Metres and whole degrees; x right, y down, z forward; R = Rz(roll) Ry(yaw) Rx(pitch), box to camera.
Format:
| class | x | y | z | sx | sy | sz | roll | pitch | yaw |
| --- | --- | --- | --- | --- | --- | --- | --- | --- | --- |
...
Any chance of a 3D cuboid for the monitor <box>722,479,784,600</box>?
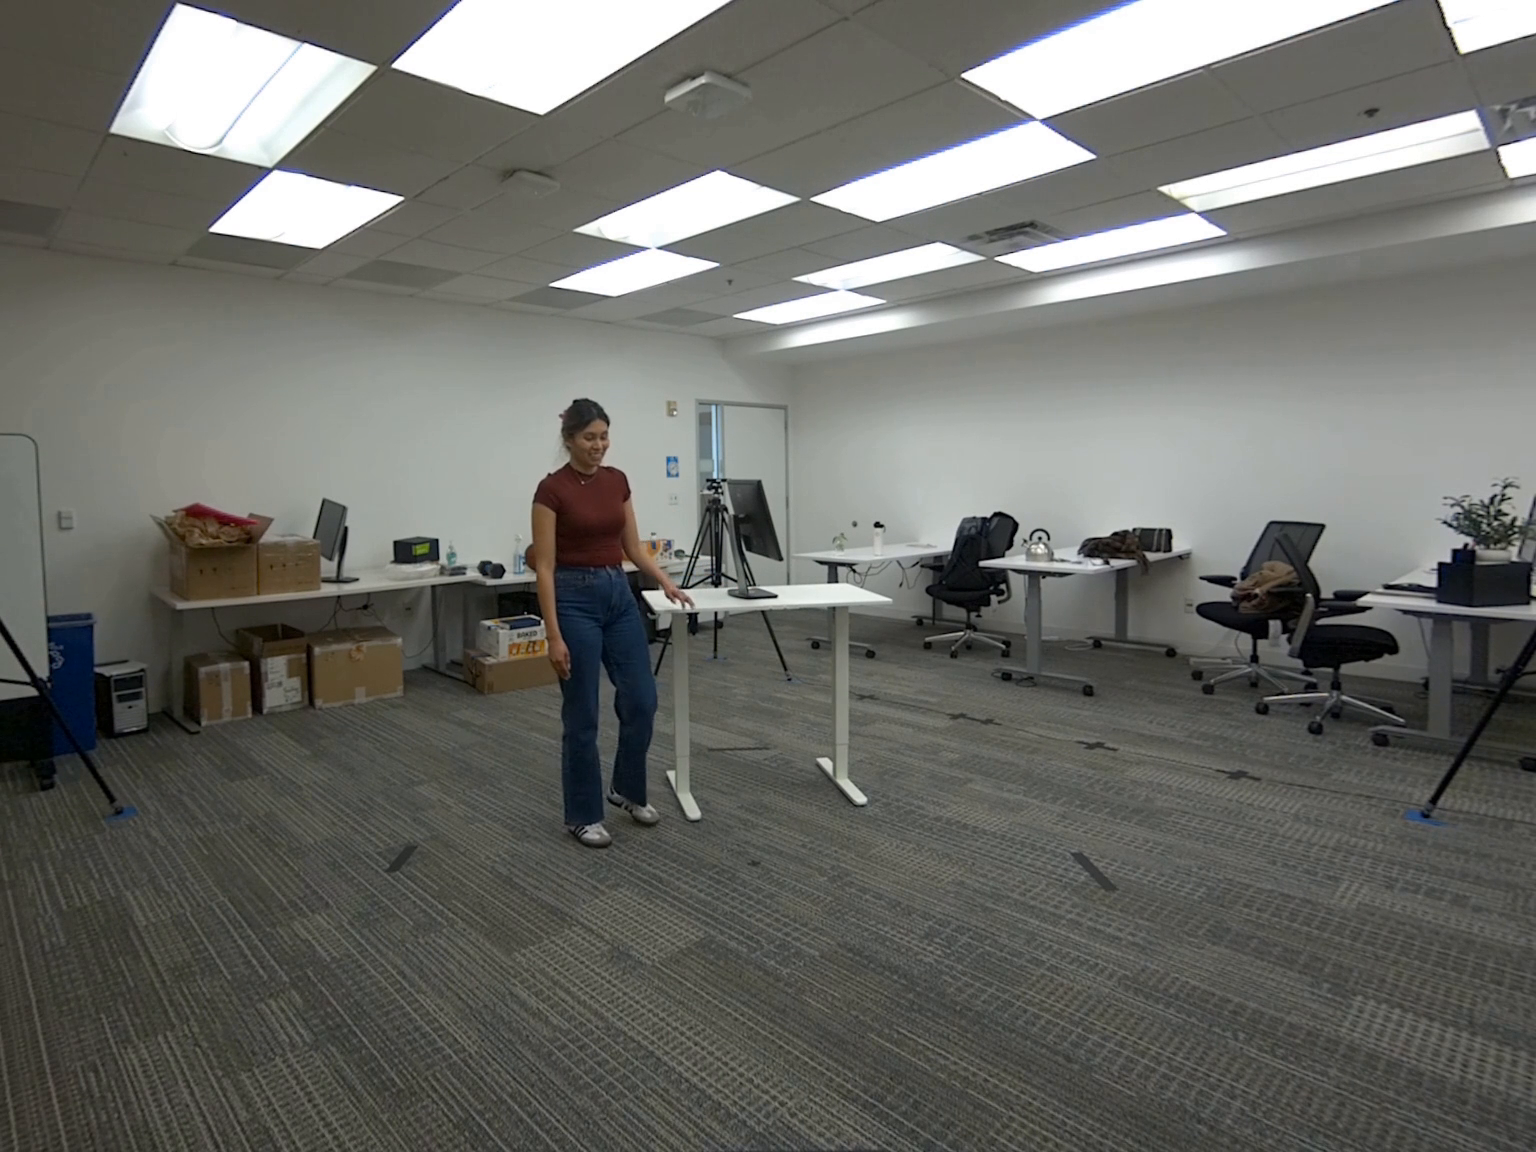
| class | x | y | z | sx | sy | sz | roll | pitch | yaw |
| --- | --- | --- | --- | --- | --- | --- | --- | --- | --- |
| monitor | -0.096 | -0.167 | 3.786 | 0.184 | 0.520 | 0.550 | -4 | 6 | -17 |
